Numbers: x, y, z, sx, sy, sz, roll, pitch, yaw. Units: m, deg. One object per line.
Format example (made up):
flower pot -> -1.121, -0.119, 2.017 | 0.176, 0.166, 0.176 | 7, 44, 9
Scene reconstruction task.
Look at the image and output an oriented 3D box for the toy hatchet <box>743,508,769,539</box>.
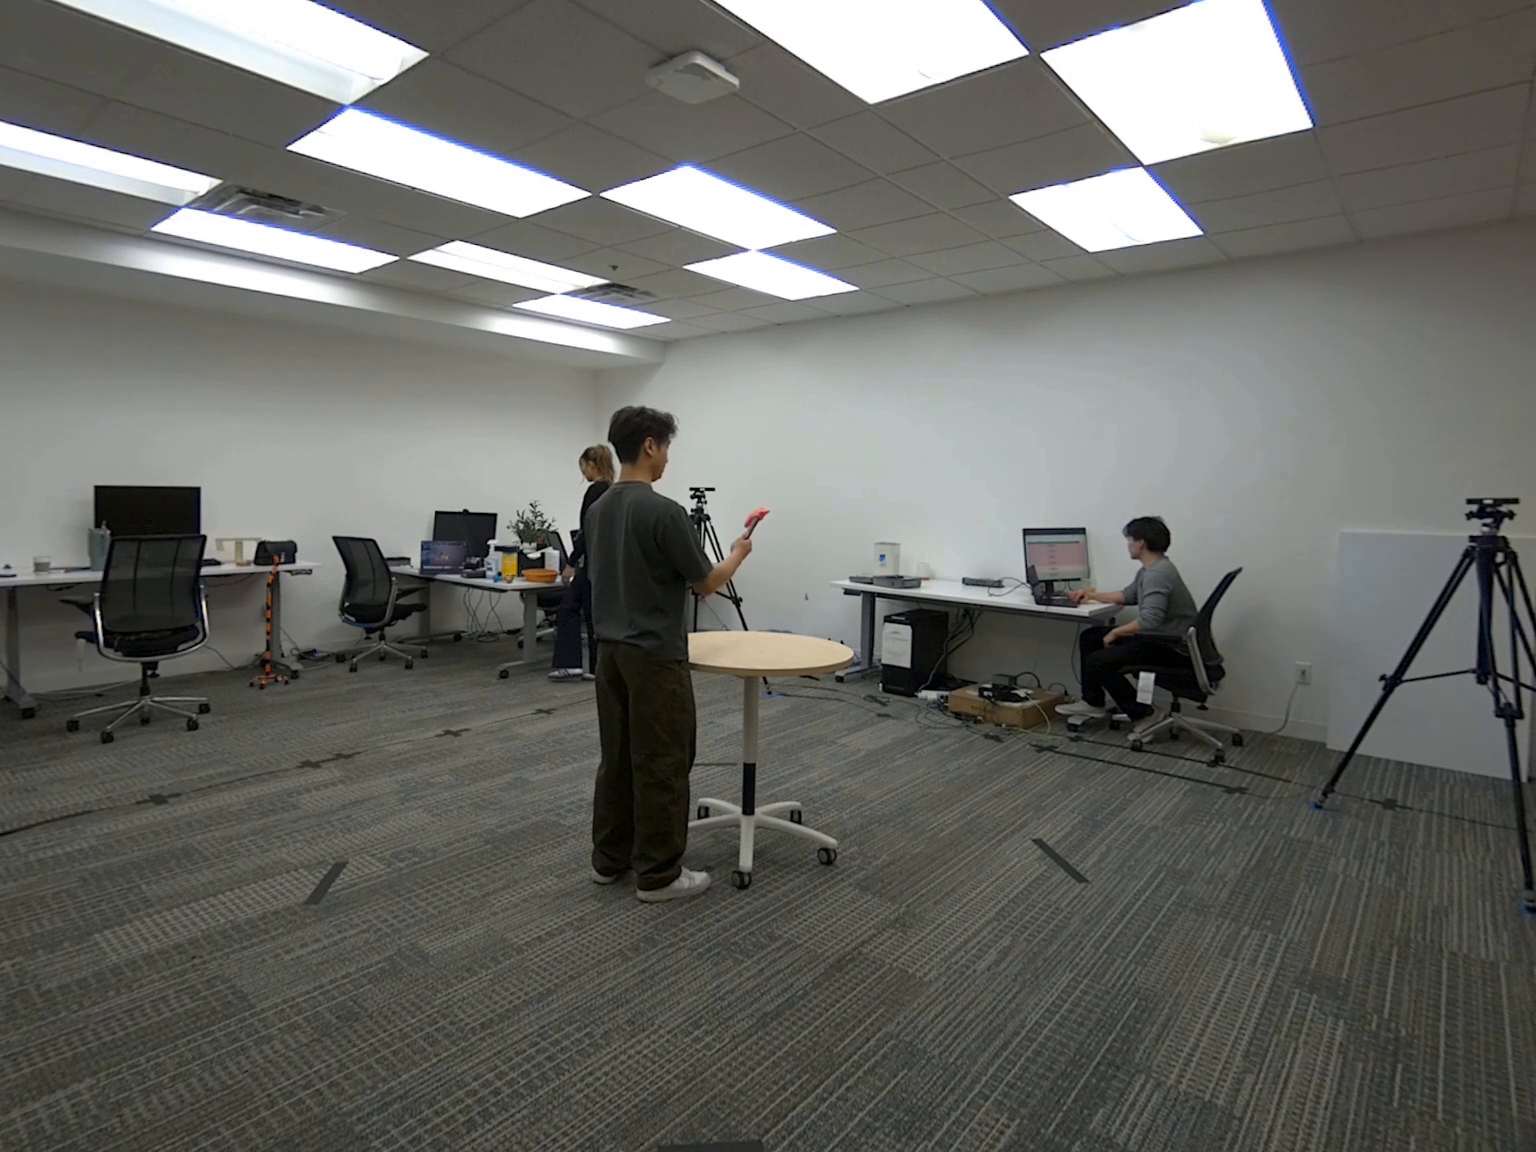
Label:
toy hatchet -> -0.109, -0.145, 3.174 | 0.028, 0.270, 0.135 | 43, -12, -26
